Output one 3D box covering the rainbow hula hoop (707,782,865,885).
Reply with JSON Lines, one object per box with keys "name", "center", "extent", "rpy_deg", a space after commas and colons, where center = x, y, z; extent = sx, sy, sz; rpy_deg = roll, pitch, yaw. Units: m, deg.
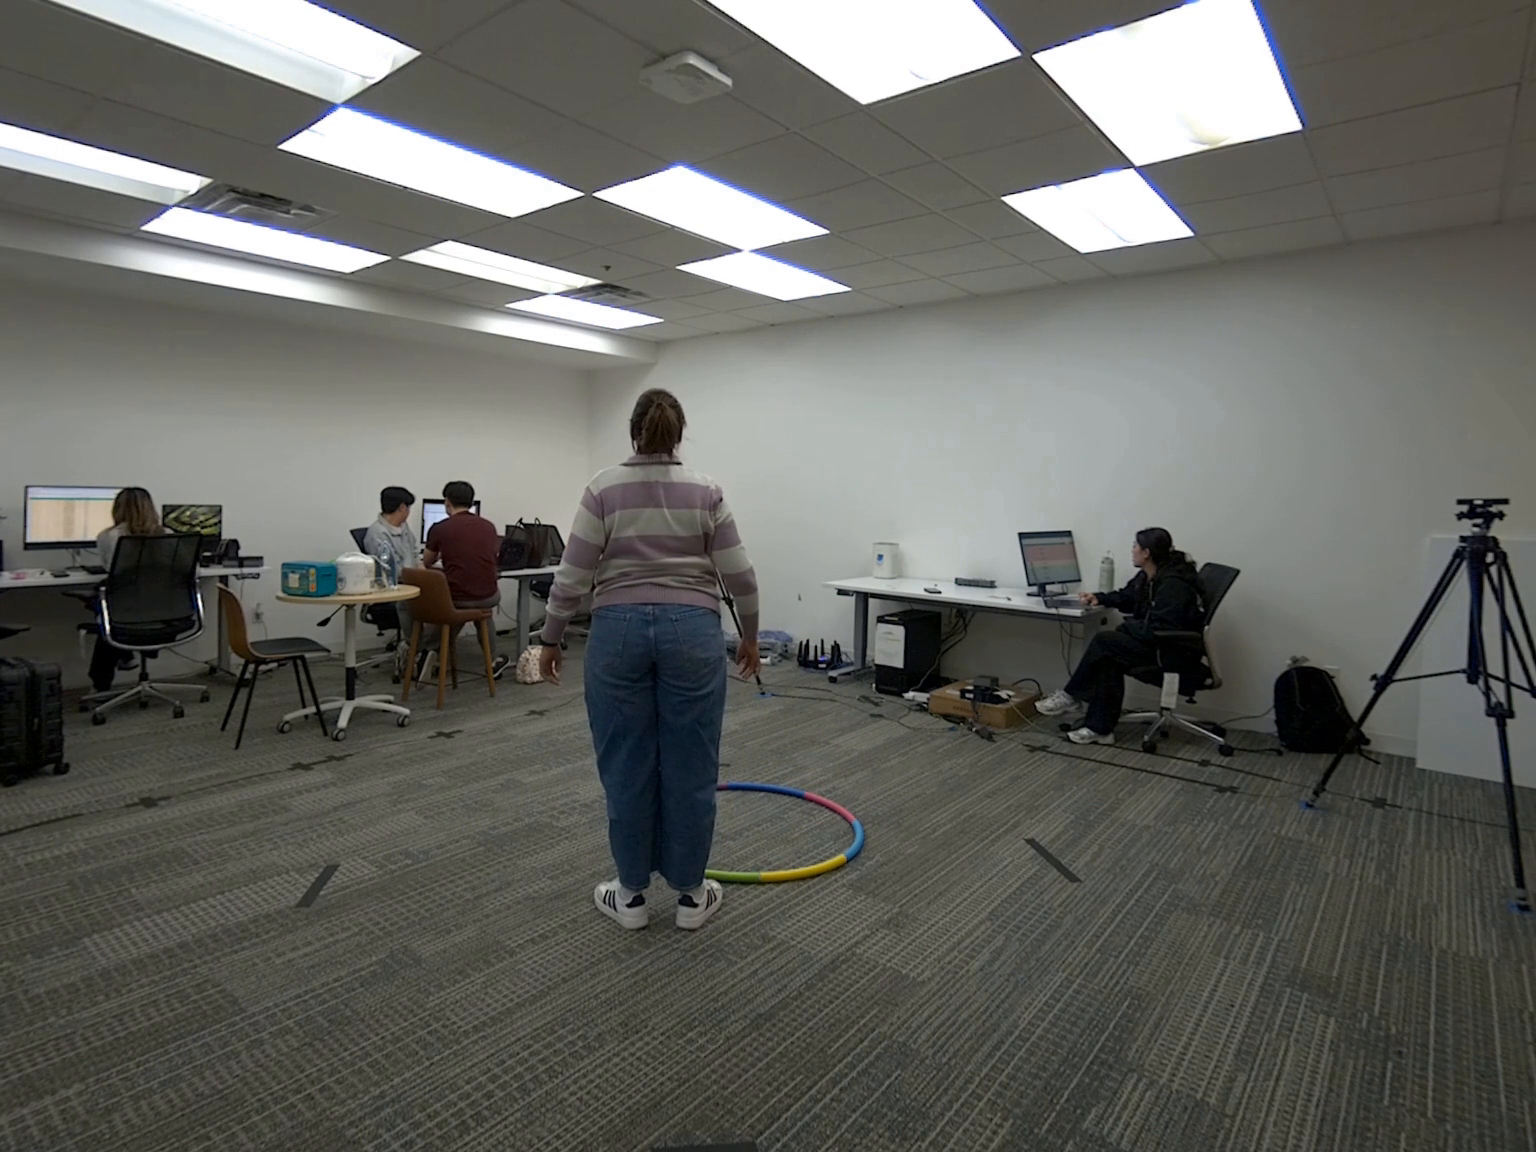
{"name": "rainbow hula hoop", "center": [-0.117, 1.006, 3.475], "extent": [0.978, 0.035, 0.984], "rpy_deg": [1, 5, -2]}
